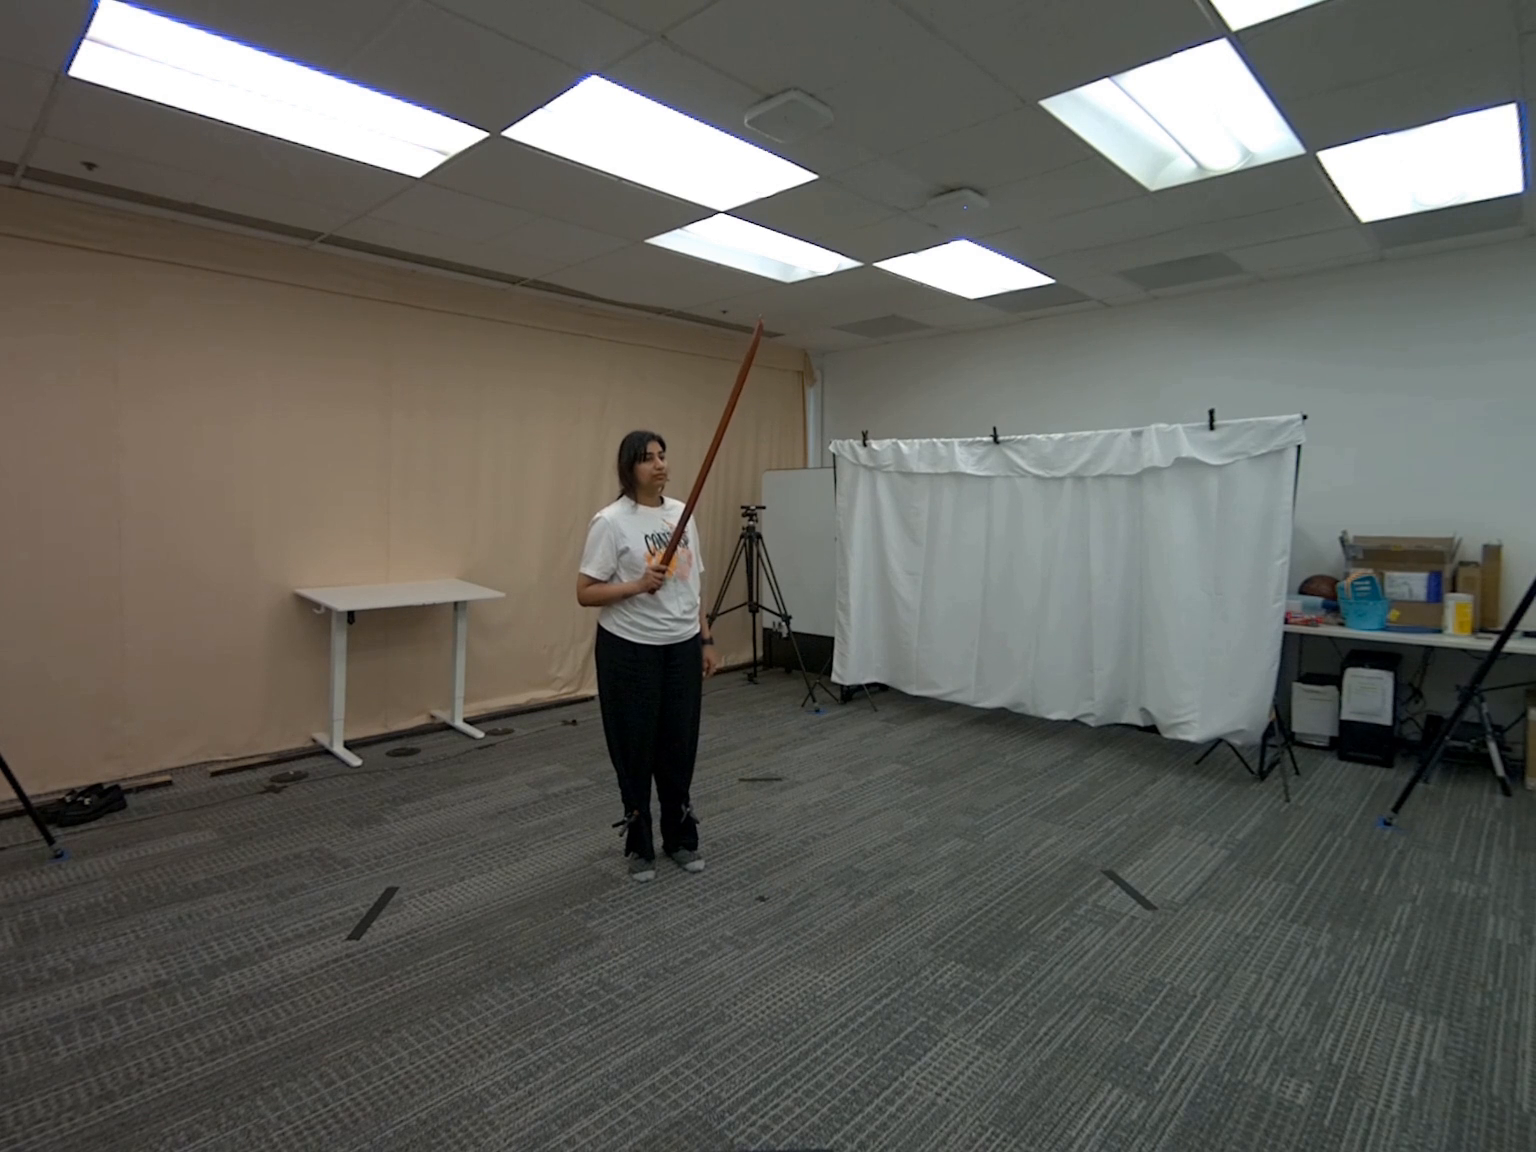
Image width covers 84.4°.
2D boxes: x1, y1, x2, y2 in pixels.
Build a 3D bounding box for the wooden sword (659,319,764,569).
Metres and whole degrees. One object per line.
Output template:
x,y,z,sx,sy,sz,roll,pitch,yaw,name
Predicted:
-0.196,-0.391,2.877,0.051,1.022,0.024,22,13,-7,wooden sword
